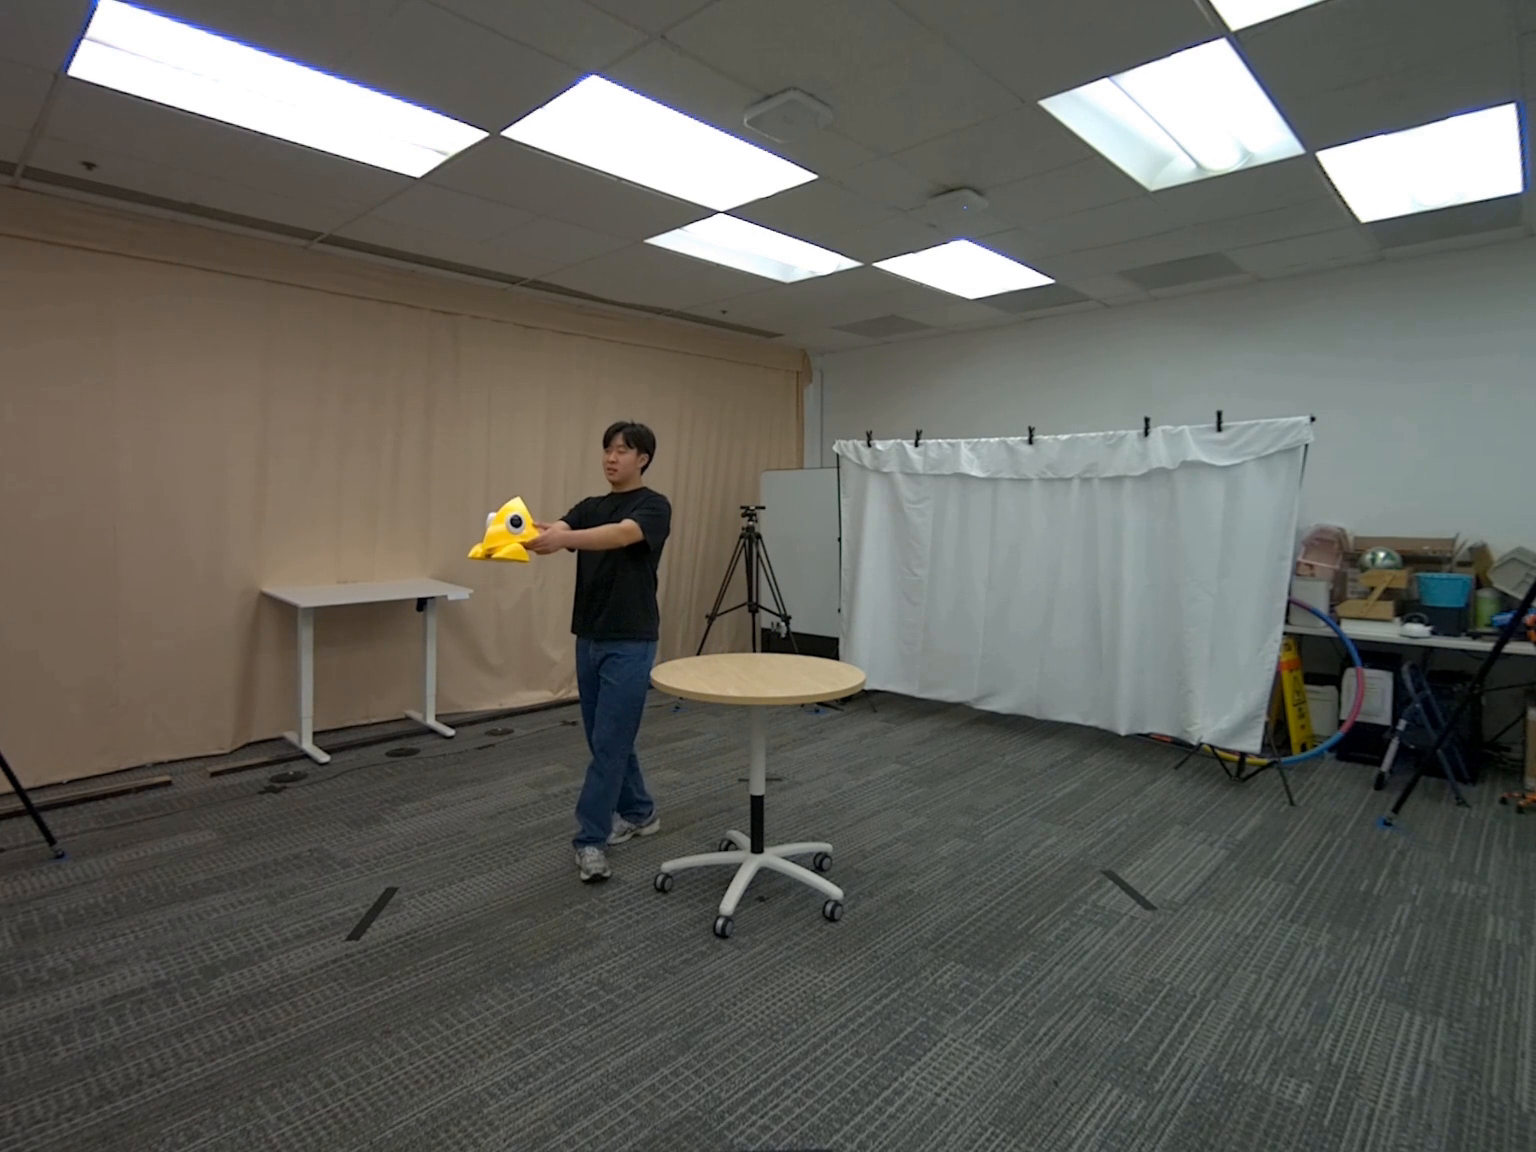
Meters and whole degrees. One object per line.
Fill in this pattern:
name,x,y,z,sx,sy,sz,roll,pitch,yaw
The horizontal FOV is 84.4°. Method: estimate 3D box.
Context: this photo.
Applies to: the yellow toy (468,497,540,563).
yellow toy,-0.898,-0.170,2.899,0.210,0.231,0.187,1,-6,28
